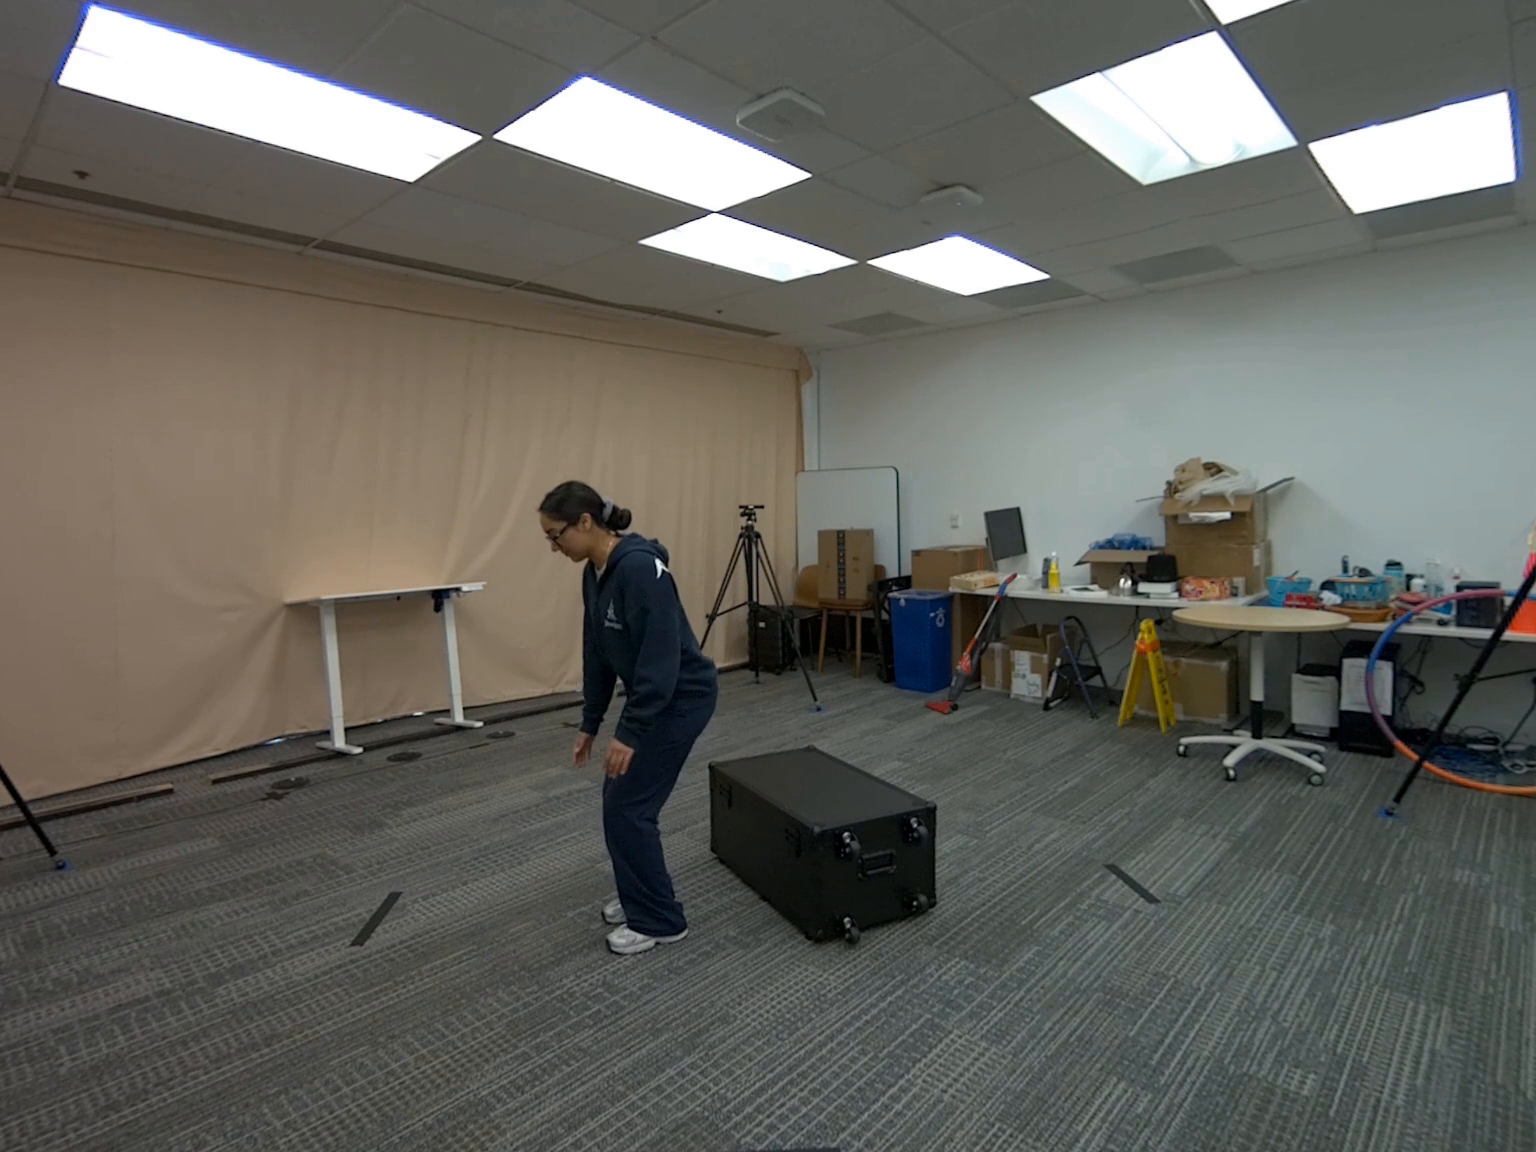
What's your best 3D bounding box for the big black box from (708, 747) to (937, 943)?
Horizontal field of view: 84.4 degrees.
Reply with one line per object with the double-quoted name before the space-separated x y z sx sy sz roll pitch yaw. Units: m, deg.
"big black box" 0.200 0.955 3.062 0.386 0.520 0.887 -5 6 -31
